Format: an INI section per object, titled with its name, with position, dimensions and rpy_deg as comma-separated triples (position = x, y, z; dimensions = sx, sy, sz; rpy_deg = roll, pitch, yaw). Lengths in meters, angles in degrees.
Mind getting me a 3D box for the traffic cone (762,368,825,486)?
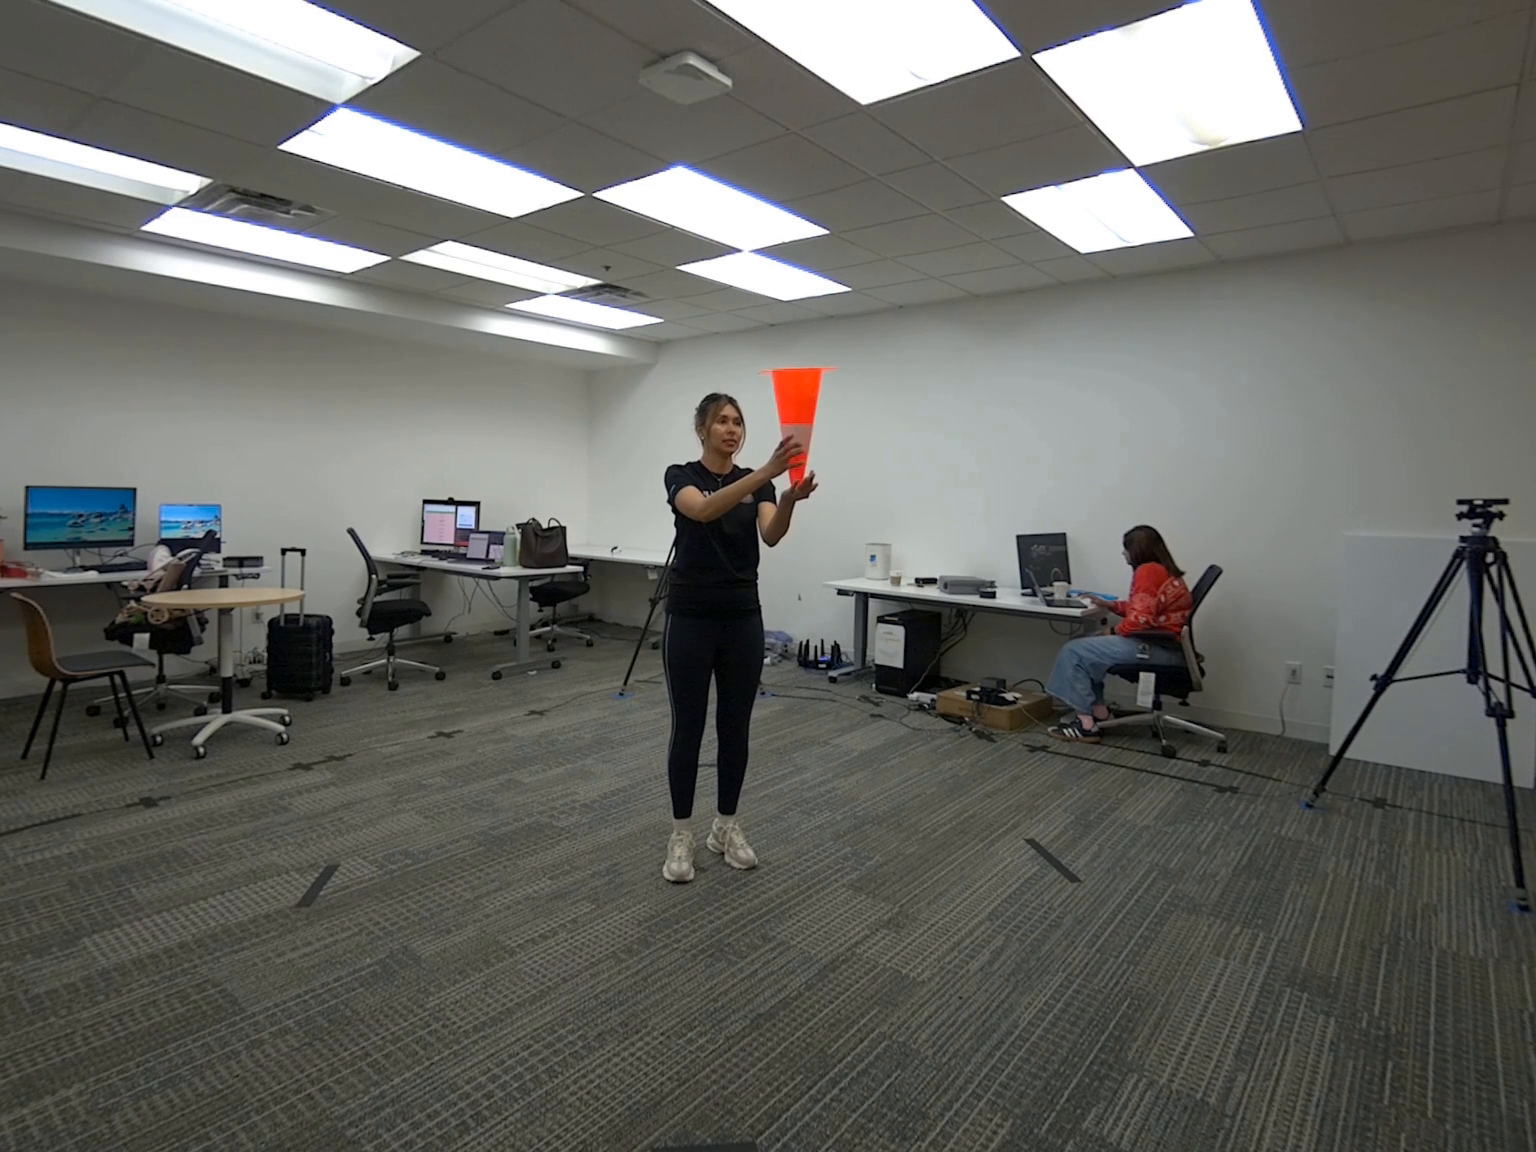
[traffic cone]
position = 0.090, -0.455, 2.669
dimensions = 0.199, 0.381, 0.210
rpy_deg = -3, 6, -21
